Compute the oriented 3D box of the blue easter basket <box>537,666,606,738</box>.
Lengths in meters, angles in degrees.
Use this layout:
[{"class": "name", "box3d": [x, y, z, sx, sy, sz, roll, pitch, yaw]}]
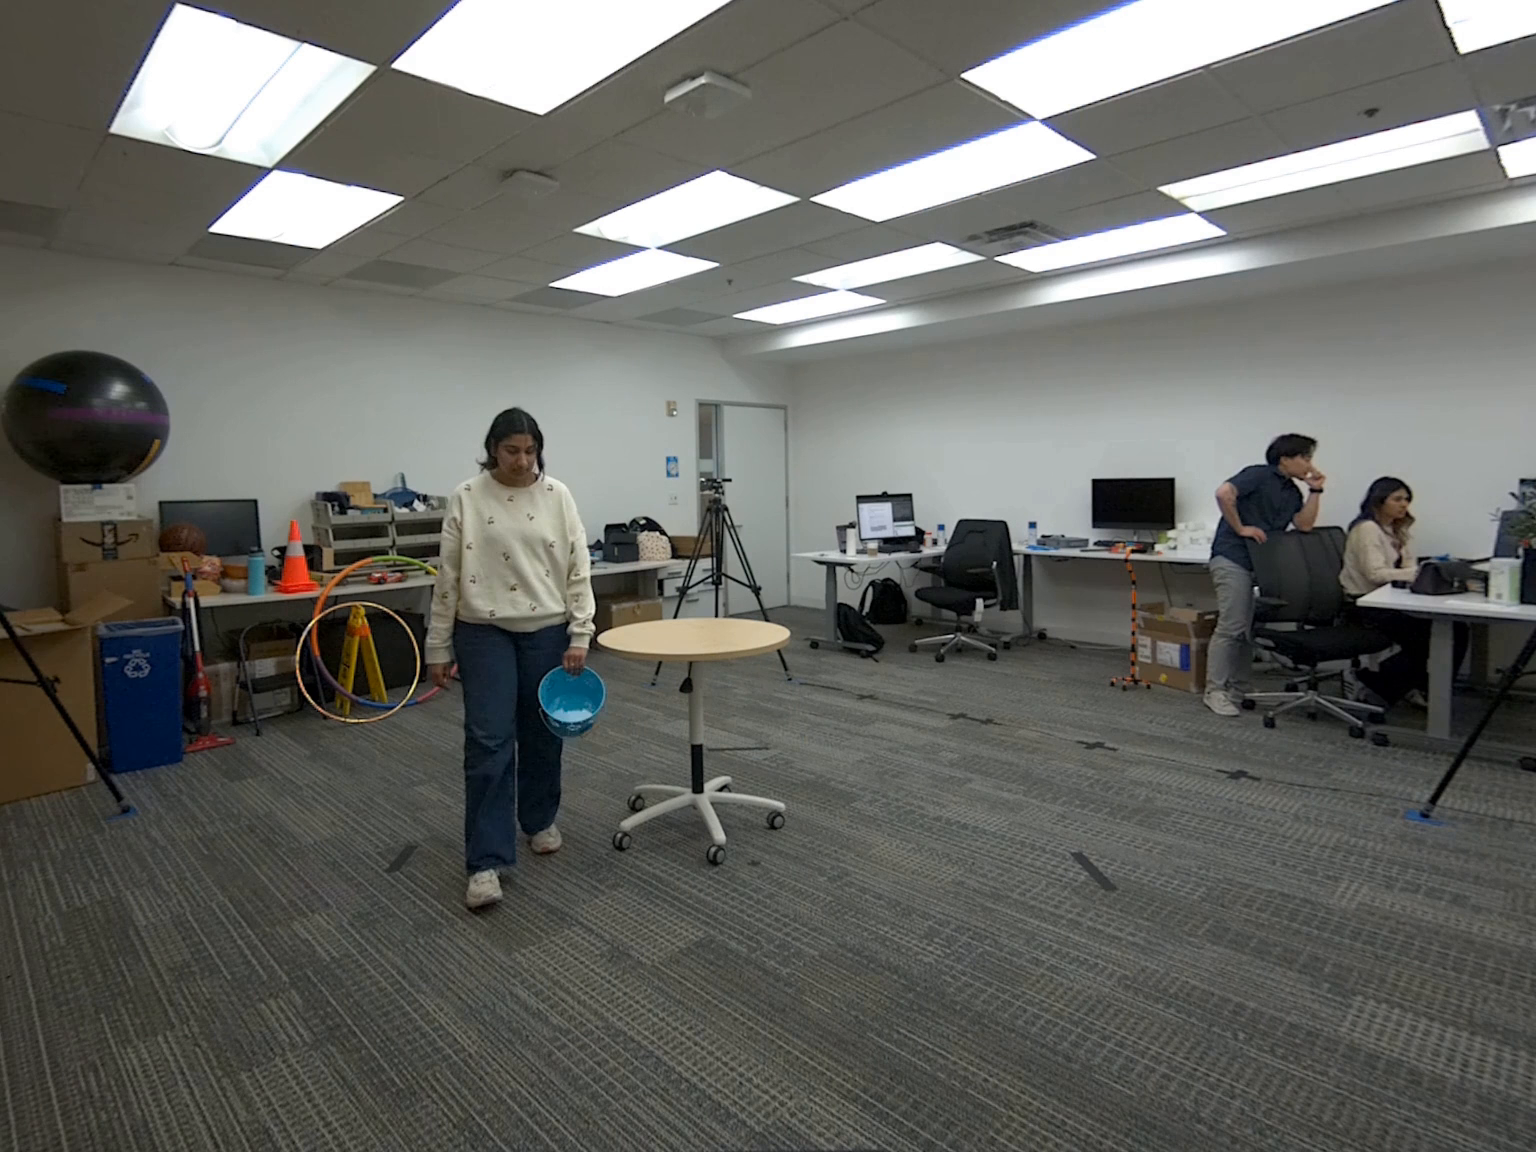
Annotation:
[{"class": "blue easter basket", "box3d": [-0.706, 0.454, 3.038, 0.243, 0.250, 0.152, 1, -40, -2]}]
